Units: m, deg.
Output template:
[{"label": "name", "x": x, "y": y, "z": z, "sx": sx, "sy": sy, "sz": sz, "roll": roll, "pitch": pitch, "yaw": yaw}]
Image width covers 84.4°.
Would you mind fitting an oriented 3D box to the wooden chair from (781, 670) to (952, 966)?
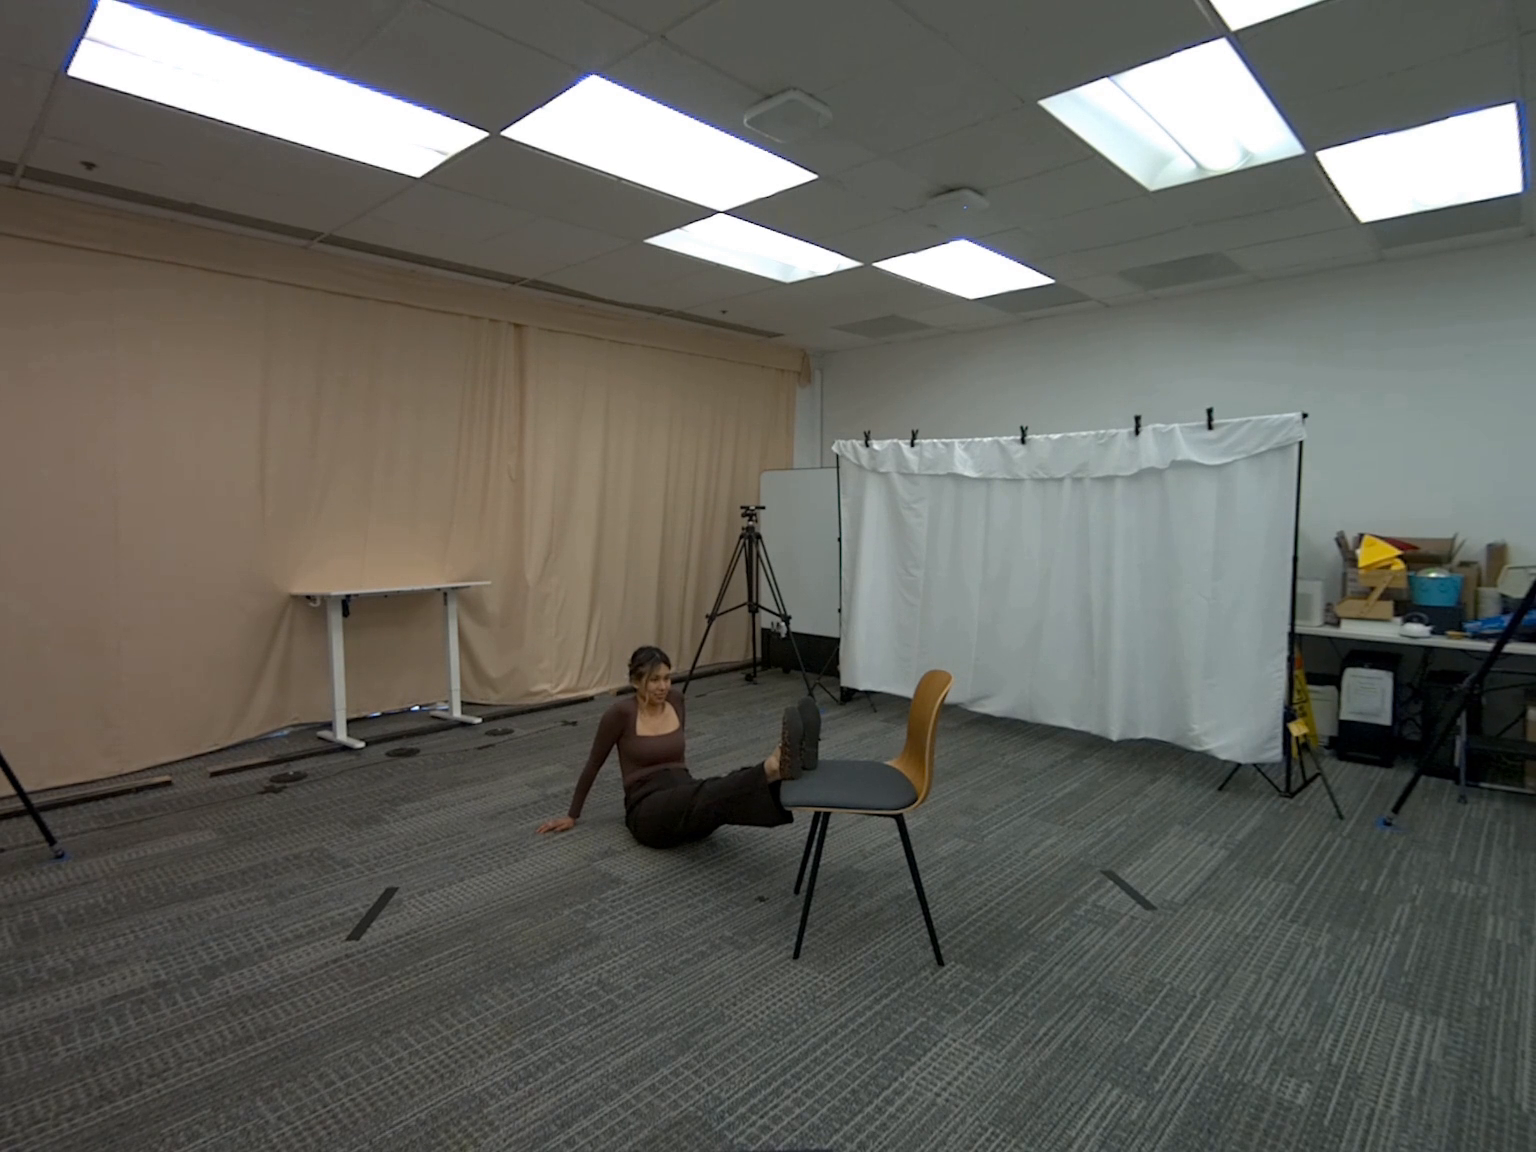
[{"label": "wooden chair", "x": 0.313, "y": 0.736, "z": 2.754, "sx": 0.526, "sy": 0.875, "sz": 0.476, "roll": 4, "pitch": 4, "yaw": 4}]
